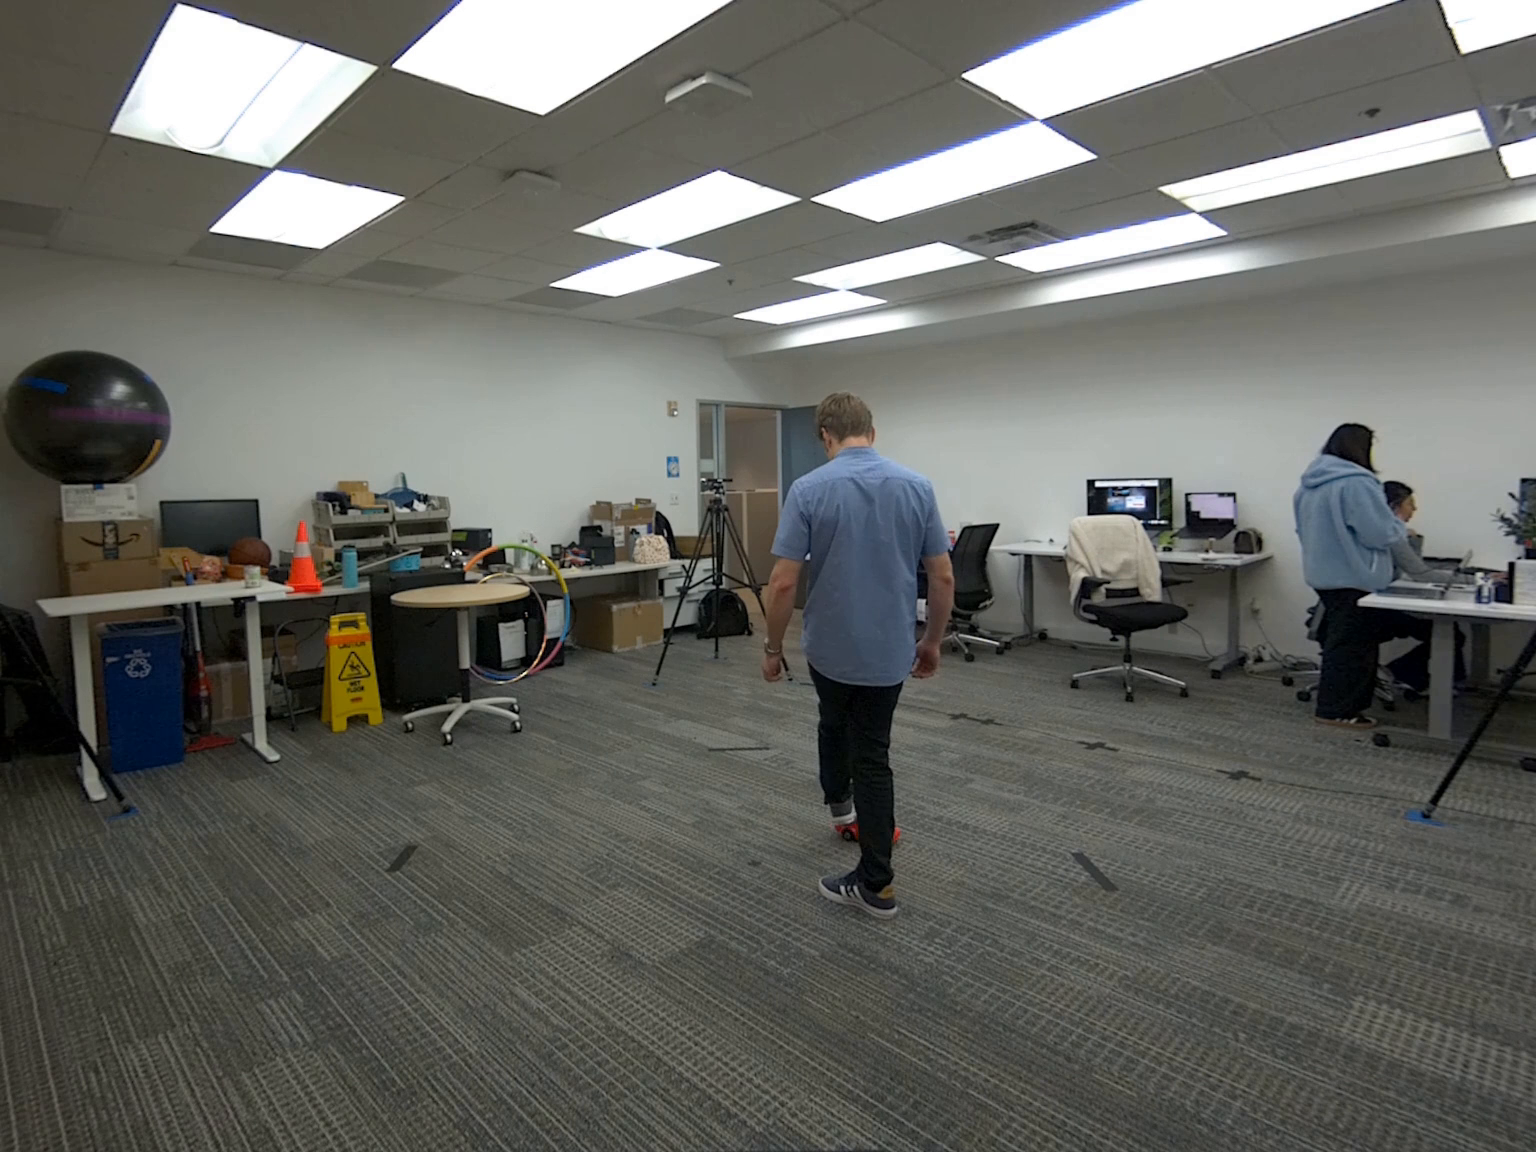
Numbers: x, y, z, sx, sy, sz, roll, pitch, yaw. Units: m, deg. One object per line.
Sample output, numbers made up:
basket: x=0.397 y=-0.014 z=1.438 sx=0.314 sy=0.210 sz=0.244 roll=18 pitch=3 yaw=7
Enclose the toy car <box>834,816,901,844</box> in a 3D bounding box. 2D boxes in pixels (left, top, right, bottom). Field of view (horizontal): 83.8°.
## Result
toy car: x=0.371 y=0.987 z=3.306 sx=0.262 sy=0.082 sz=0.127 roll=15 pitch=12 yaw=28
